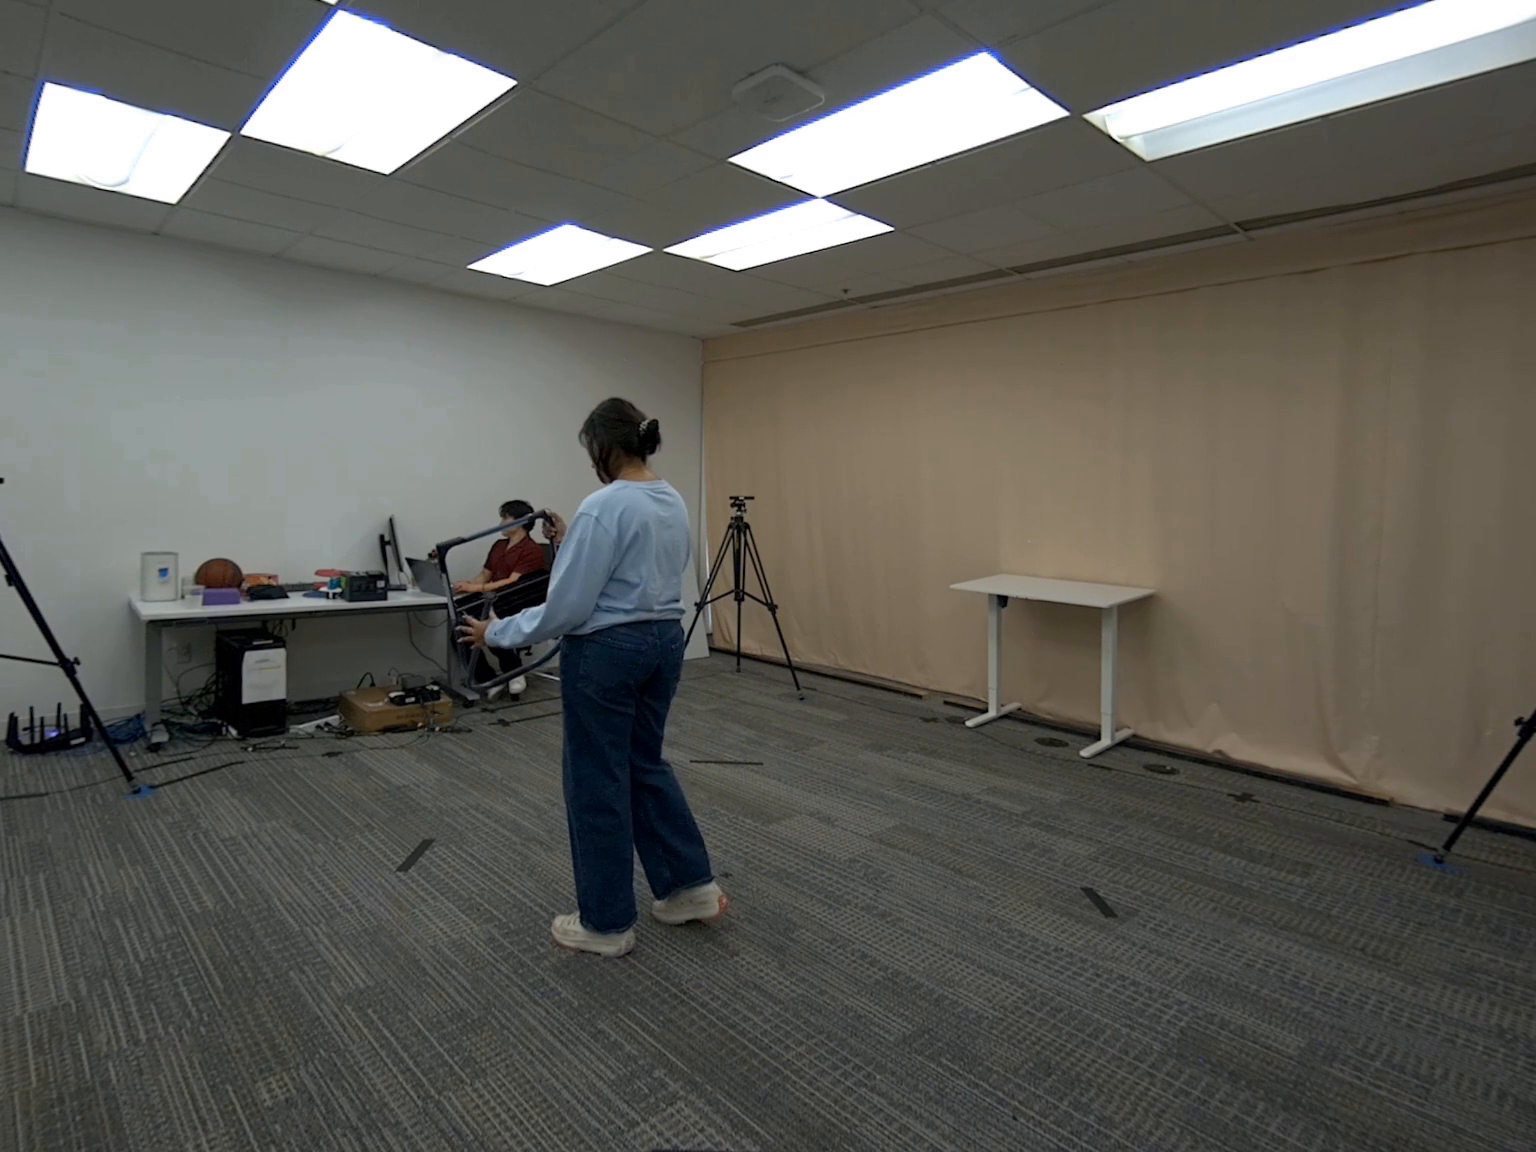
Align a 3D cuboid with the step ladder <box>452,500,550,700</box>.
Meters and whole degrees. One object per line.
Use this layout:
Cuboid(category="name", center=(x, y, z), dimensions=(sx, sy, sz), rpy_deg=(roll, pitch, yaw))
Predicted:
Cuboid(category="step ladder", center=(-0.813, 0.162, 2.803), dimensions=(0.425, 0.596, 0.360), rpy_deg=(-22, 44, -39))
